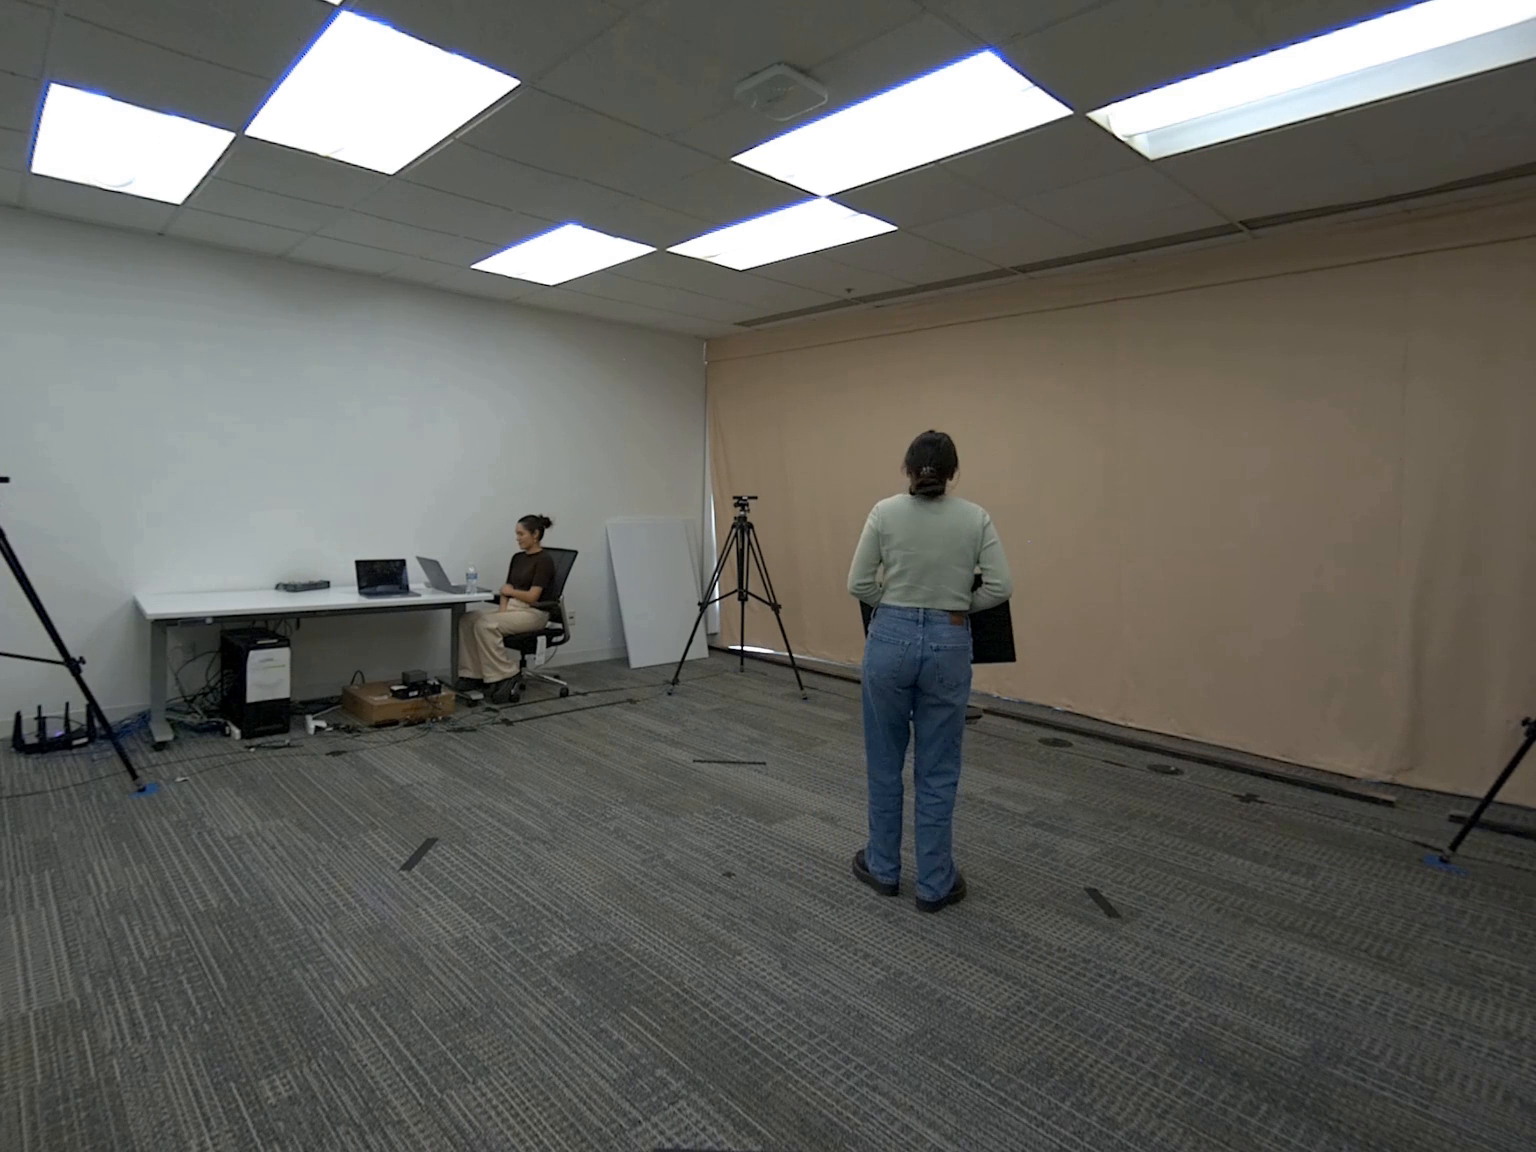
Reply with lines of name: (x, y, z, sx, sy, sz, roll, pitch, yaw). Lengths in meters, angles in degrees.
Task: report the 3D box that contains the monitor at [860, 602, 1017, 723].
monitor: (0.649, 0.251, 3.086, 0.537, 0.516, 0.172, -5, -1, 20)
